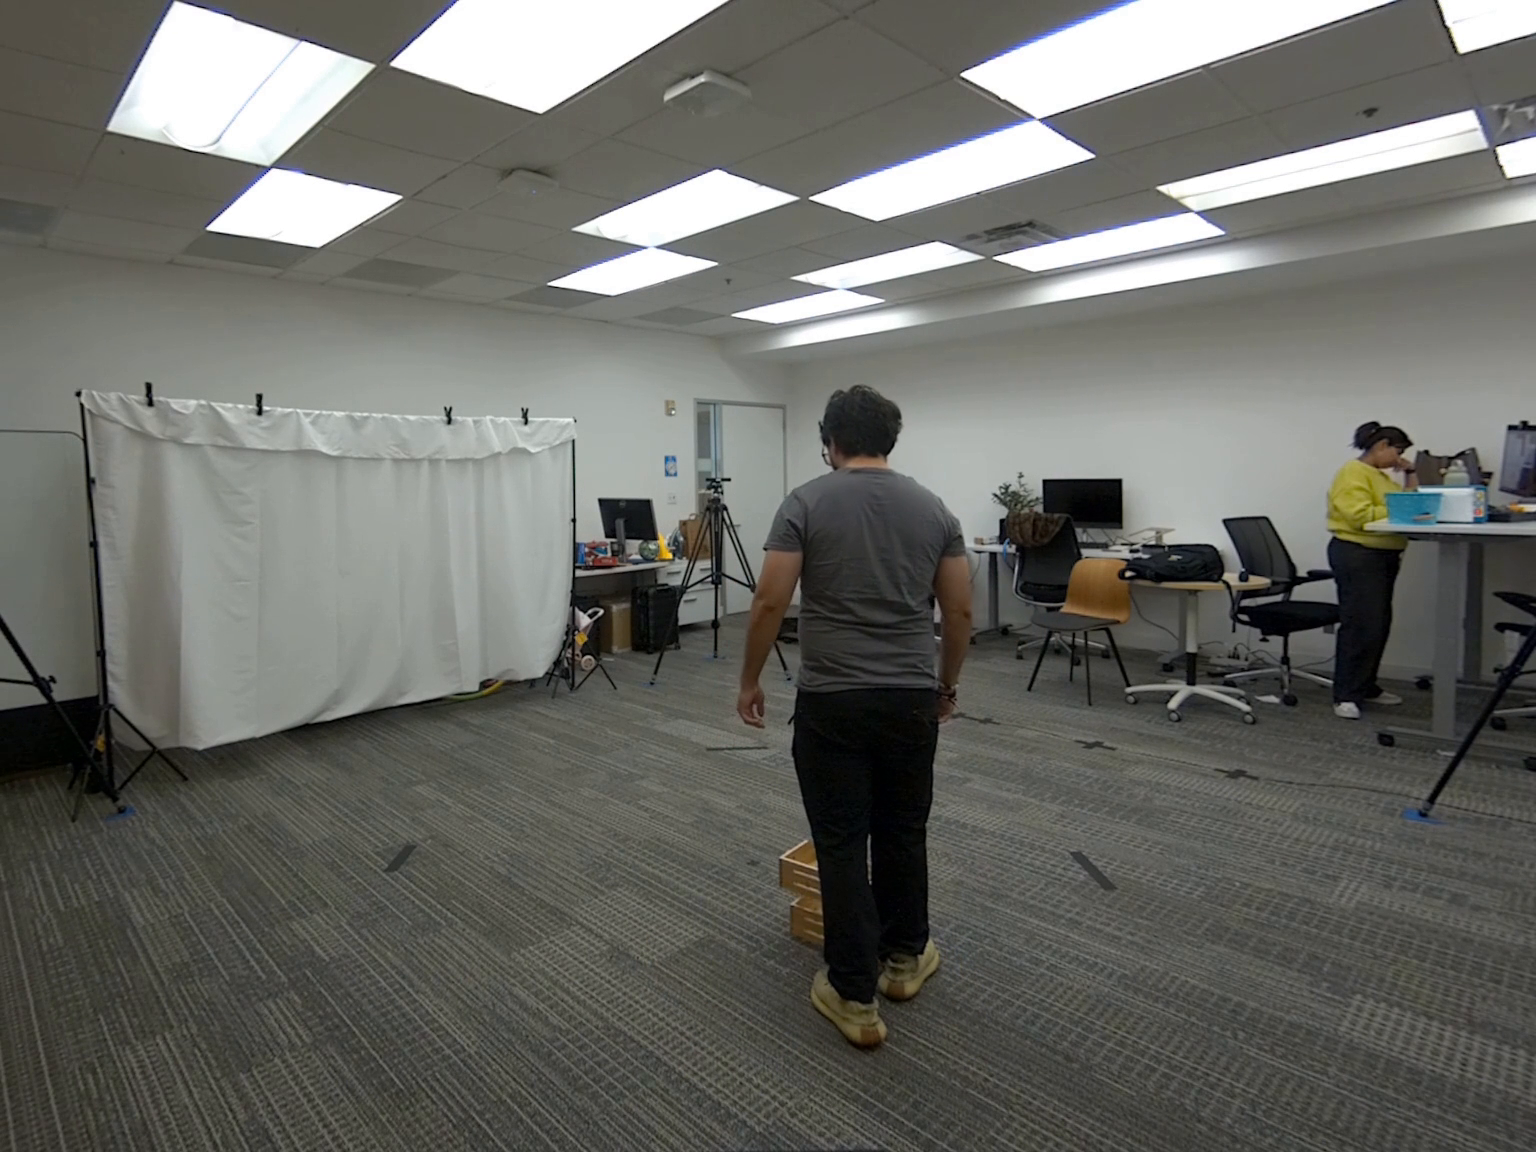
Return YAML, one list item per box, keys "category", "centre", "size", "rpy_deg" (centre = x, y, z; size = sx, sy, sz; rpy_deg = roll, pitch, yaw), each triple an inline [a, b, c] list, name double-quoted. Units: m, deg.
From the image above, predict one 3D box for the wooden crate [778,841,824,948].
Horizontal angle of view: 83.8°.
- category: "wooden crate"
  centre: [0.256, 0.966, 2.591]
  size: [0.334, 0.272, 0.295]
  rpy_deg: [3, 8, 38]
